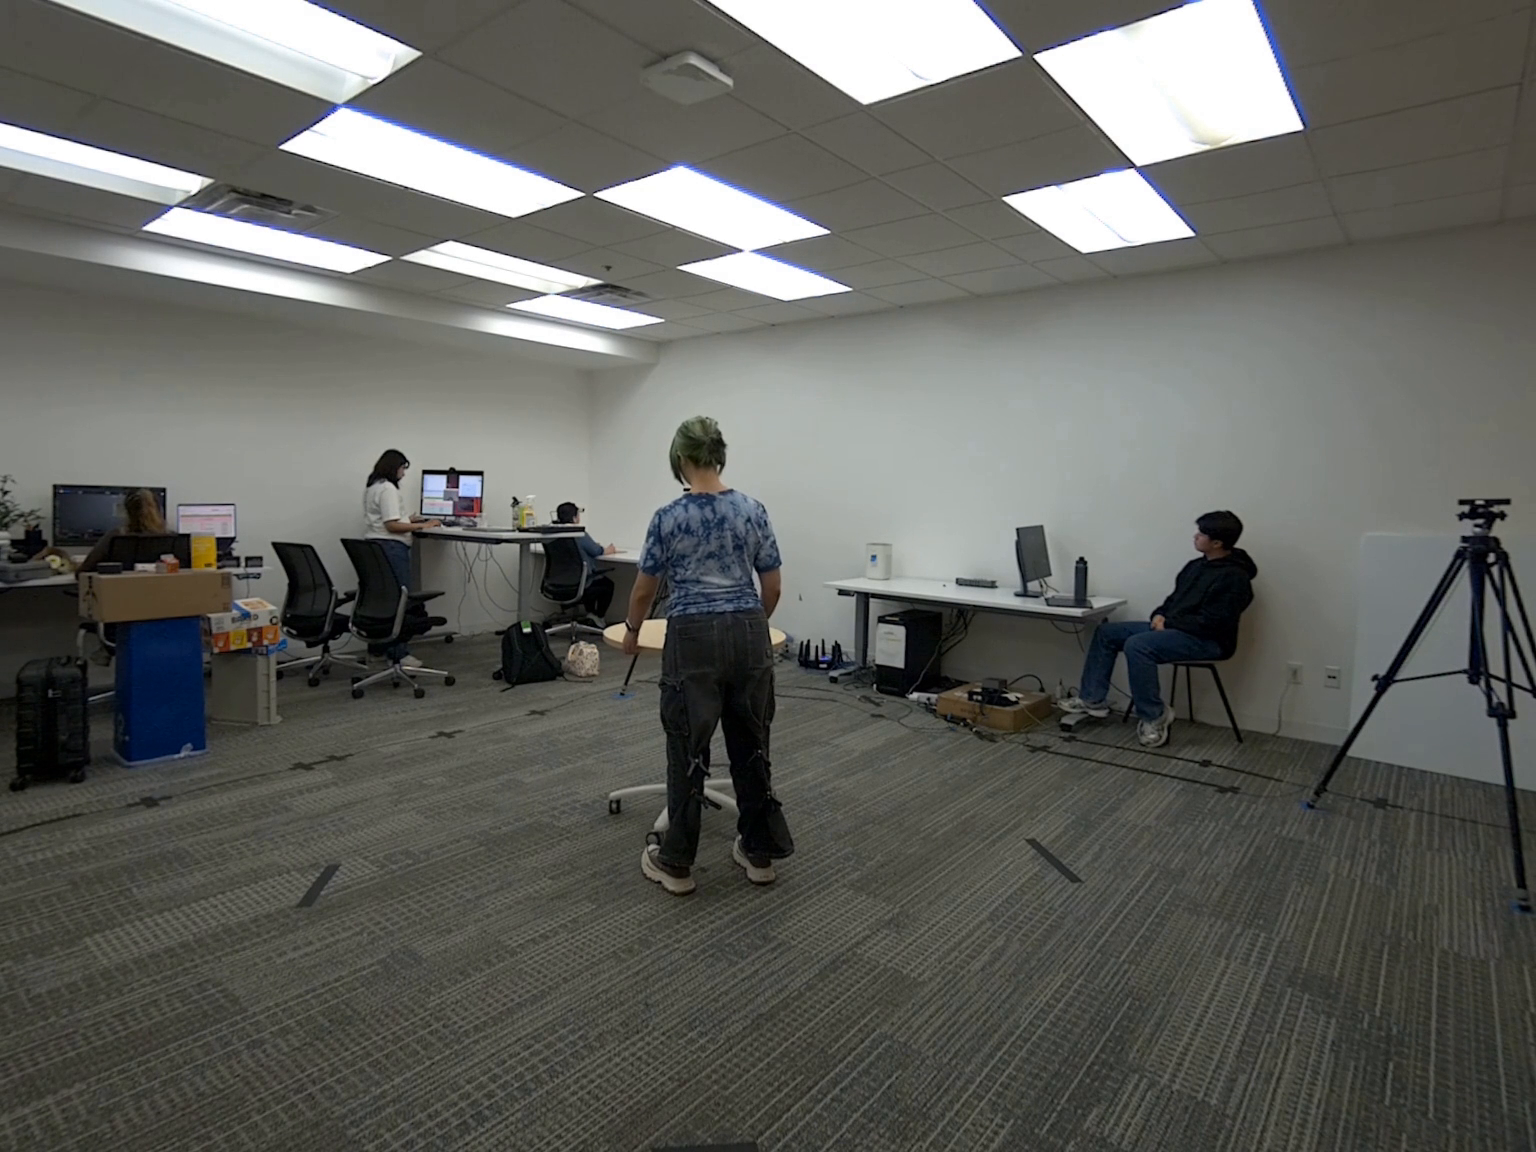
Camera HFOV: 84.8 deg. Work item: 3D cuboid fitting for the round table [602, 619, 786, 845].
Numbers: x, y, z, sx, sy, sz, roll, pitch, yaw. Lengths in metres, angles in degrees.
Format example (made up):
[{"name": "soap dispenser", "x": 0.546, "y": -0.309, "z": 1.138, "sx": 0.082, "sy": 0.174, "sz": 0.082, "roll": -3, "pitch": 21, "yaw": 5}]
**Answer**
[{"name": "round table", "x": -0.329, "y": 0.628, "z": 3.595, "sx": 0.763, "sy": 0.791, "sz": 0.768, "roll": 1, "pitch": 4, "yaw": -2}]
